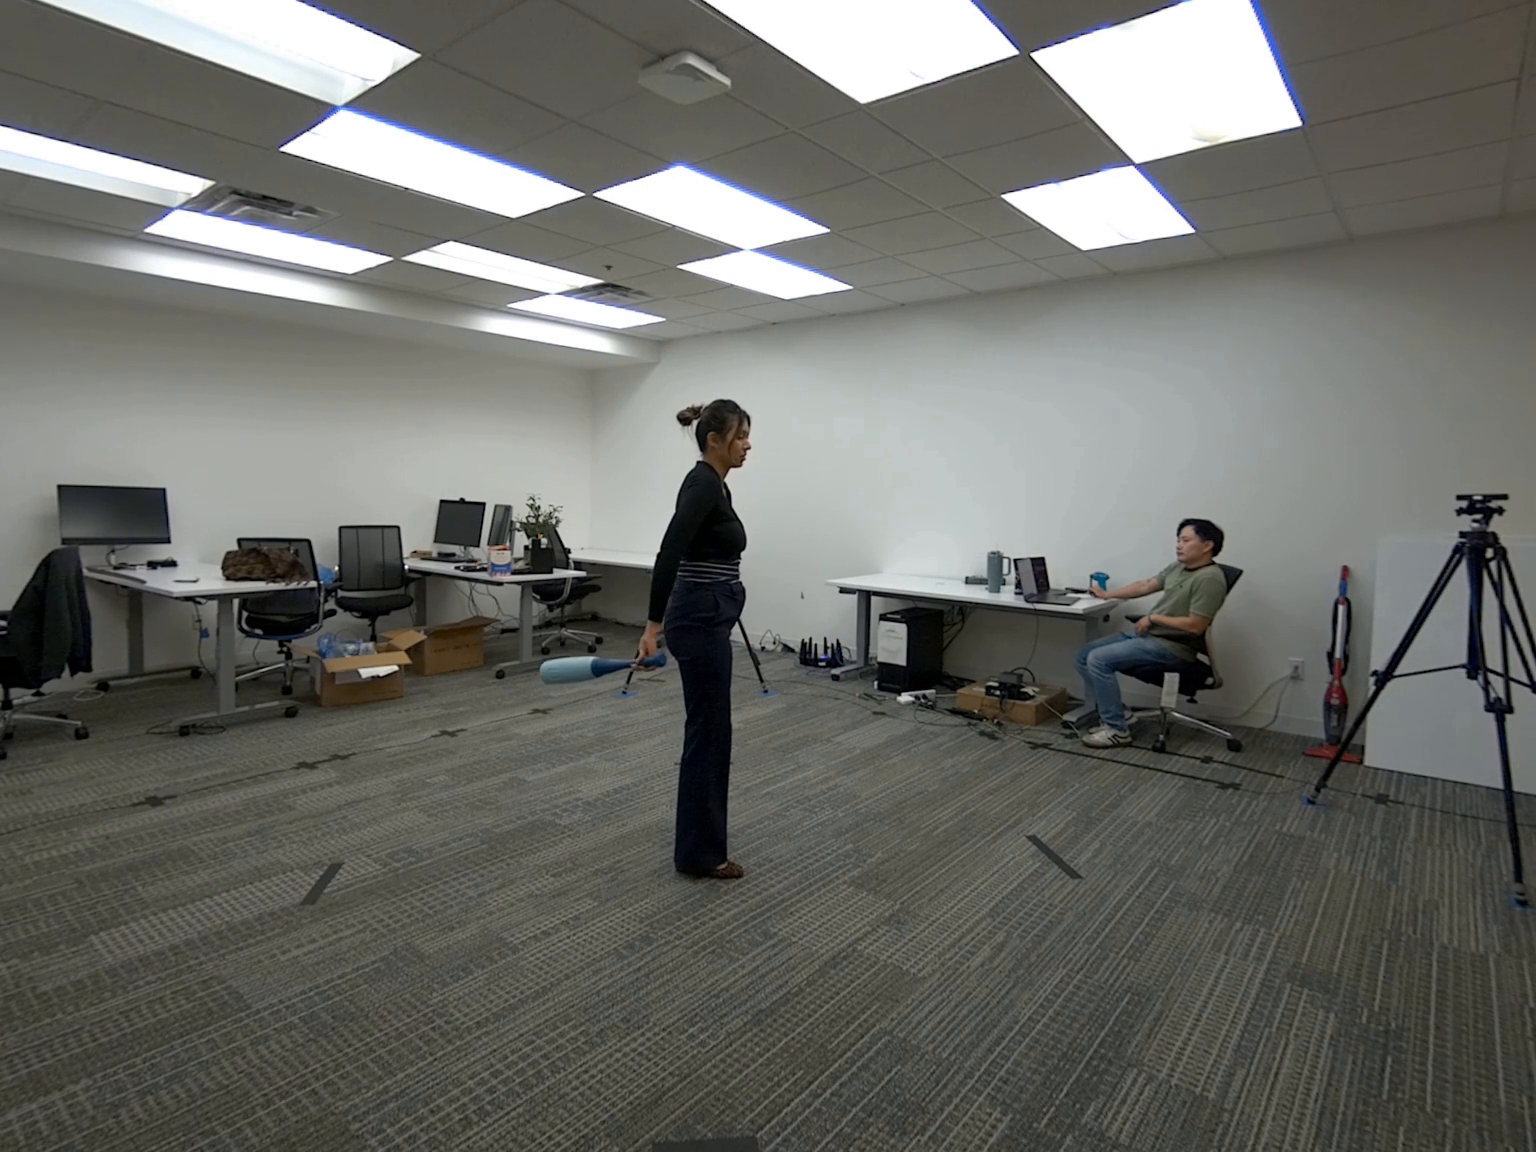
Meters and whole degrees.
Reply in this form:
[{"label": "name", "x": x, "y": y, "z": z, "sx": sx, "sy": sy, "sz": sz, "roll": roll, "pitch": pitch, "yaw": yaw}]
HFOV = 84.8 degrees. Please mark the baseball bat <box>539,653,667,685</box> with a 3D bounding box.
[{"label": "baseball bat", "x": -0.569, "y": 0.309, "z": 2.917, "sx": 0.555, "sy": 0.089, "sz": 0.087, "roll": -10, "pitch": -2, "yaw": 29}]
